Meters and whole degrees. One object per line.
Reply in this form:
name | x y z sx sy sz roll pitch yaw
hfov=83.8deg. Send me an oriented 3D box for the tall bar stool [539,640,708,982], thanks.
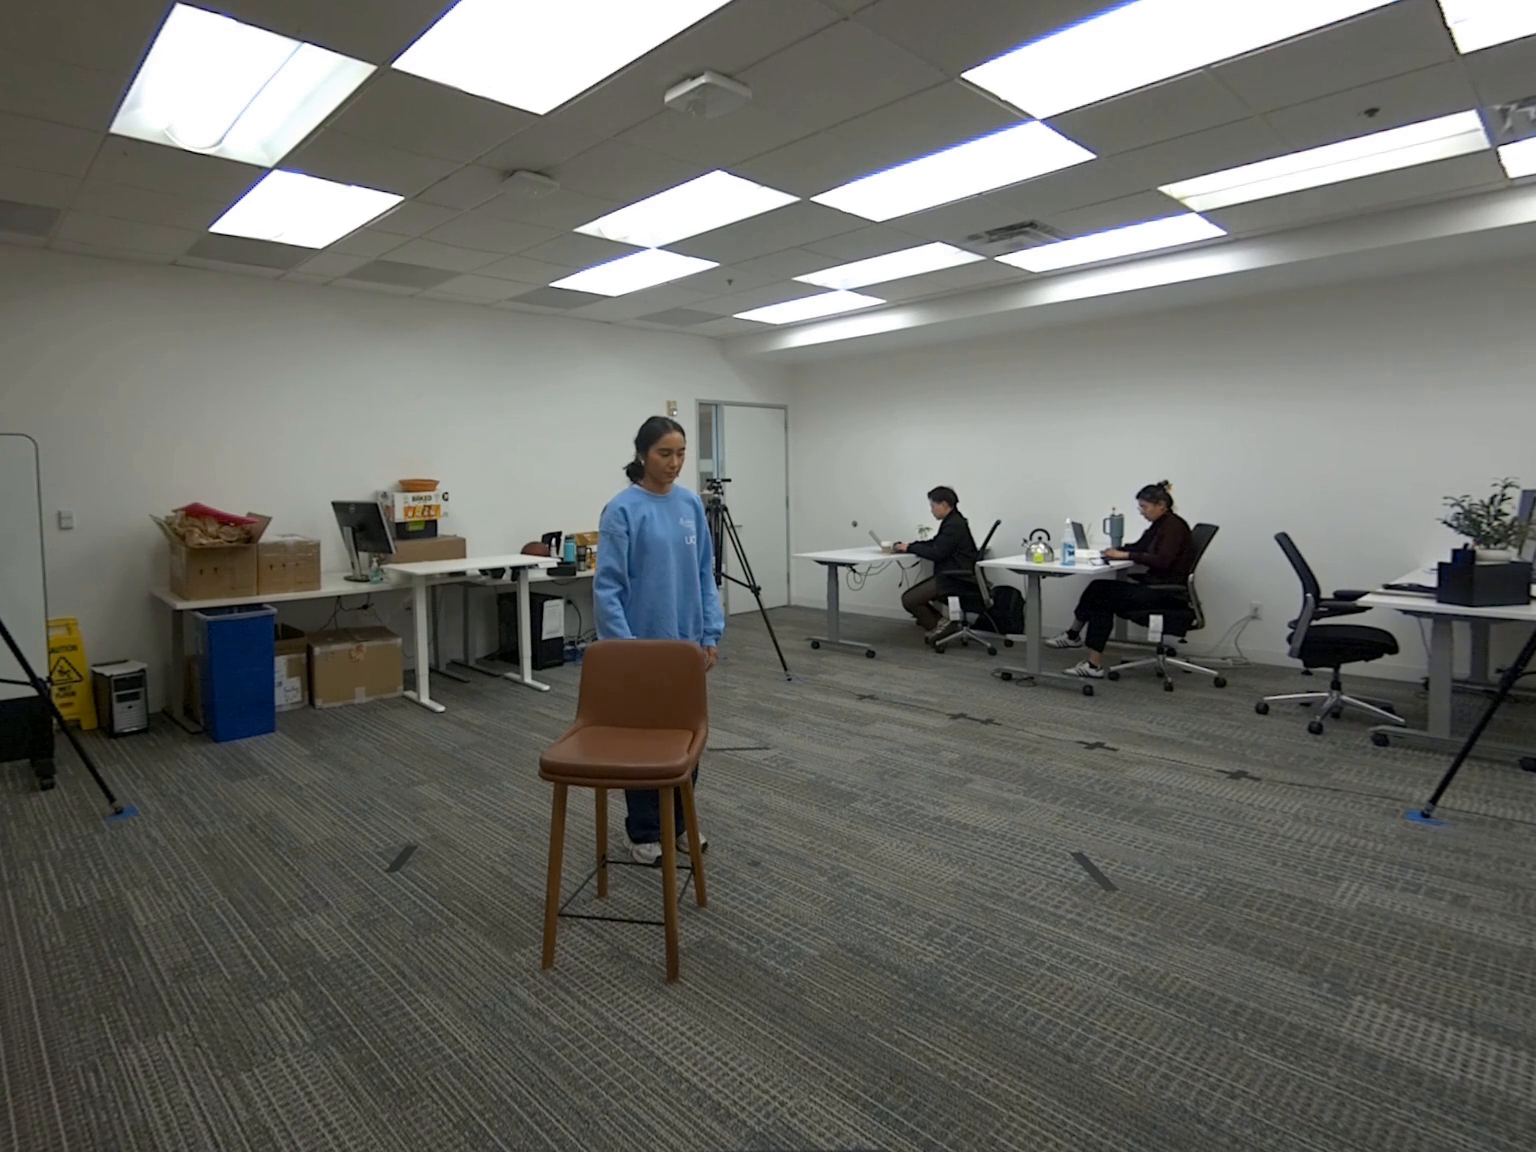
tall bar stool | -0.428 0.676 2.617 0.462 0.888 0.463 0 3 12
